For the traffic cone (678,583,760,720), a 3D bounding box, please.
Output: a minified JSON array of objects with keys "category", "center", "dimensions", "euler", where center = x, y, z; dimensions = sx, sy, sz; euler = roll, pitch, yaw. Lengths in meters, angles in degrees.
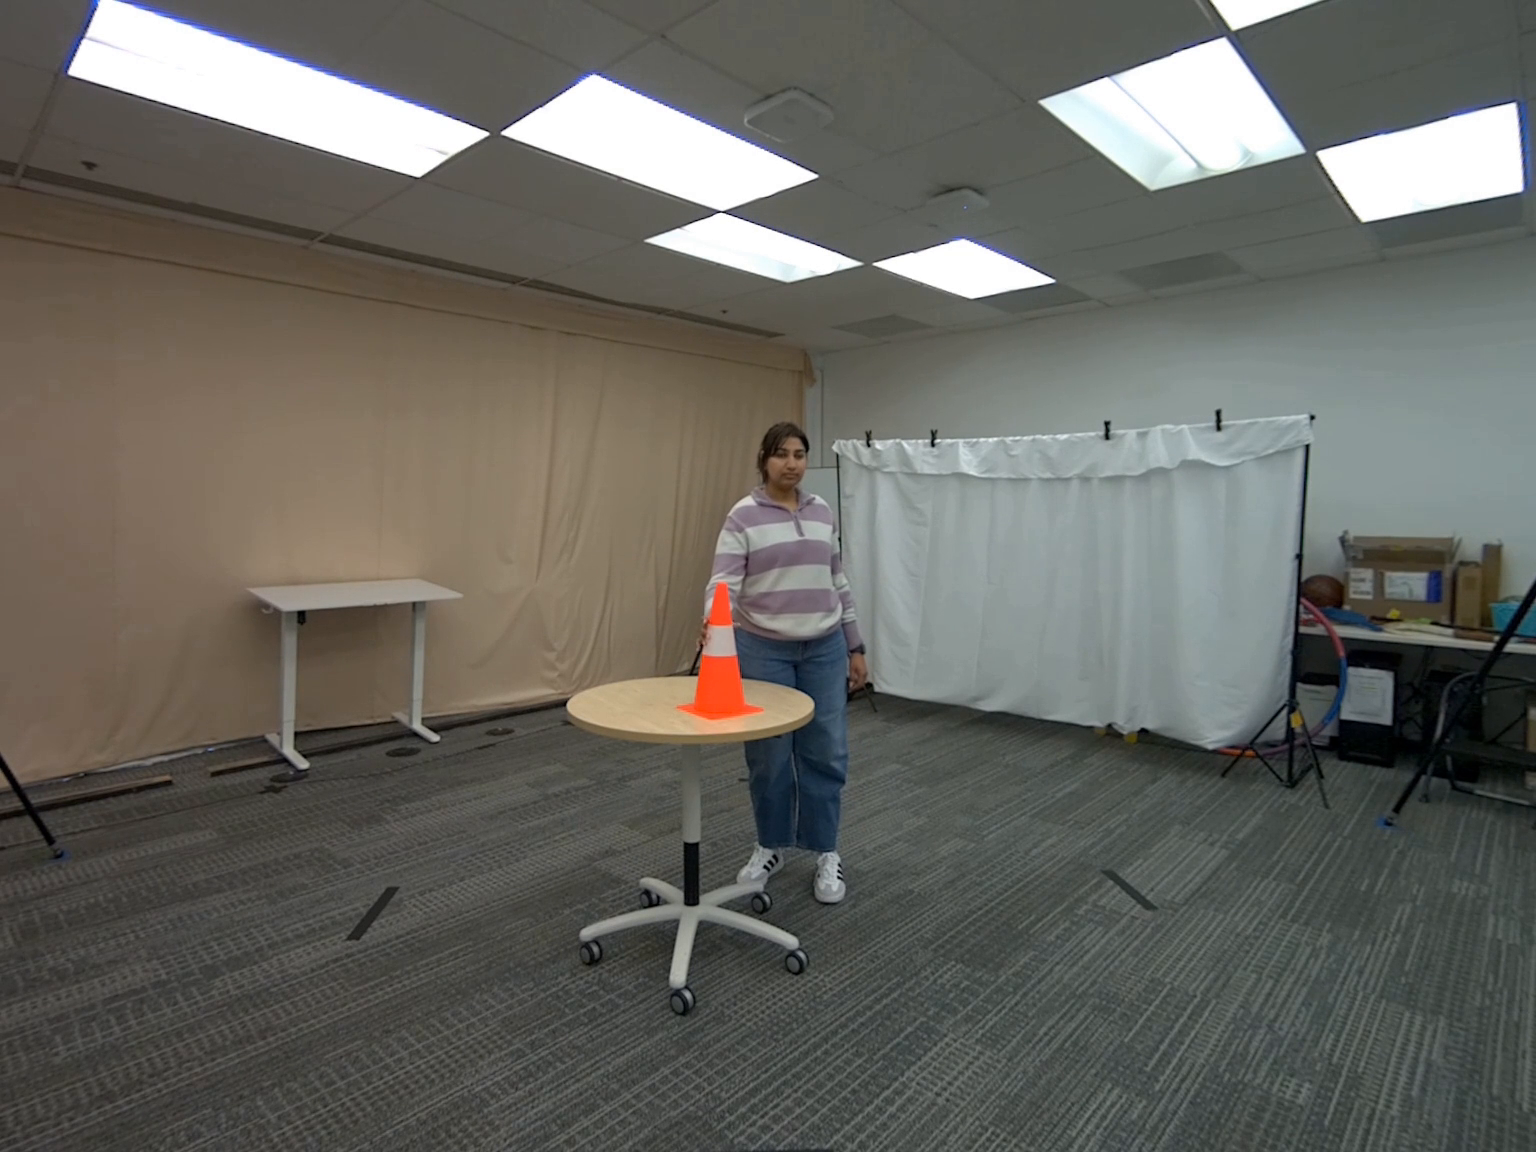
[{"category":"traffic cone","center":[-0.146,0.214,2.523],"dimensions":[0.212,0.383,0.197],"euler":[1,2,44]}]
